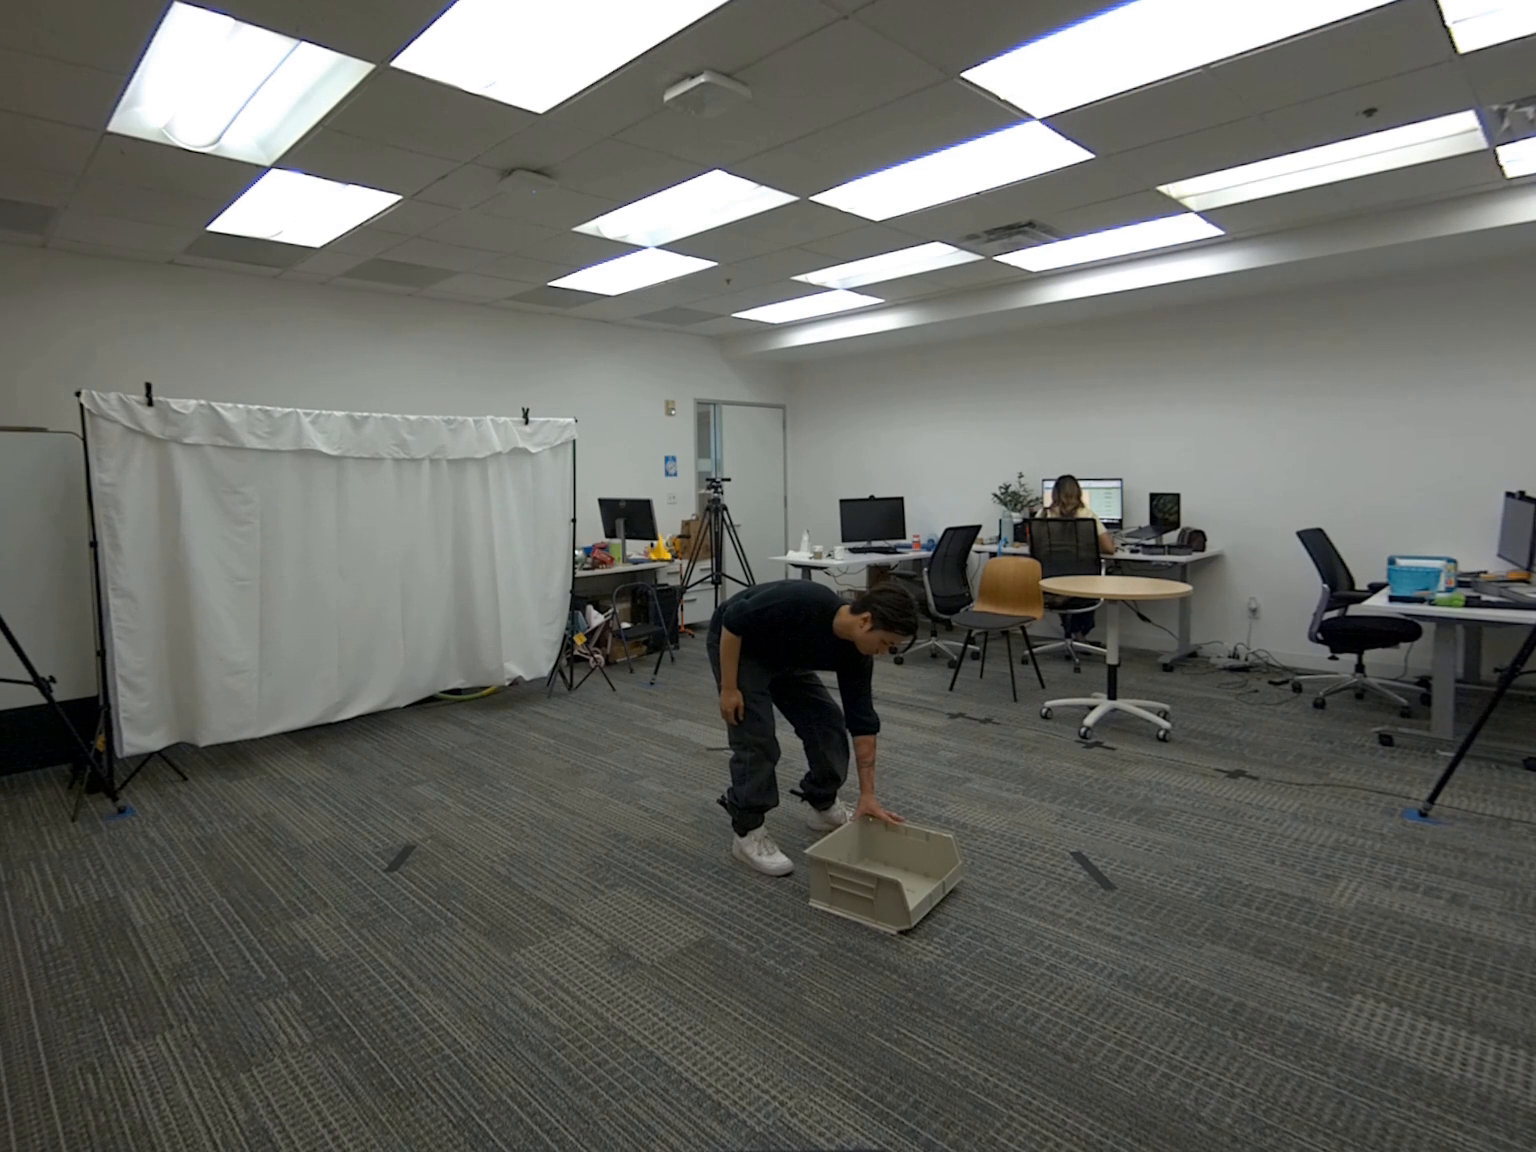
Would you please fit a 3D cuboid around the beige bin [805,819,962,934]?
[{"bbox_3d":[0.395,0.980,2.834,0.388,0.188,0.412,2,7,36],"label":"beige bin"}]
